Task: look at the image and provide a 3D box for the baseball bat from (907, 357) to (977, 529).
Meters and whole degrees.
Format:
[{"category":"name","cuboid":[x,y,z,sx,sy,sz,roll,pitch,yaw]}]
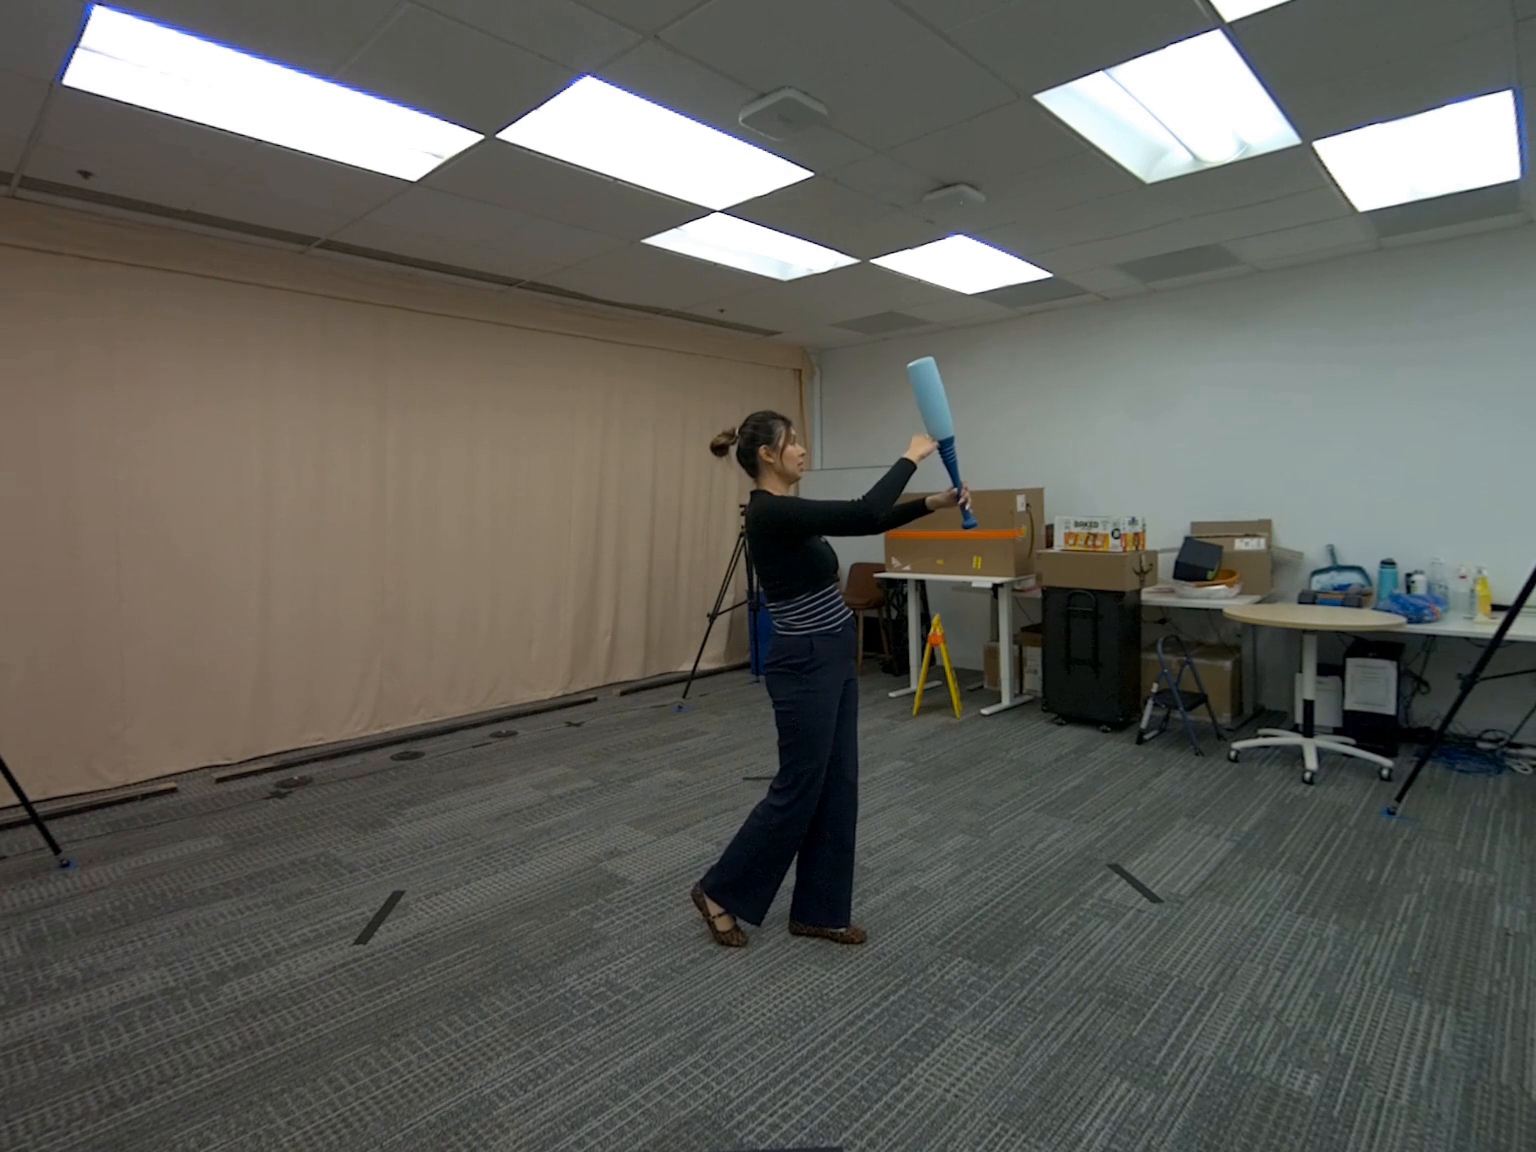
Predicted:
[{"category":"baseball bat","cuboid":[0.551,-0.406,2.573,0.089,0.540,0.089,-18,6,1]}]
